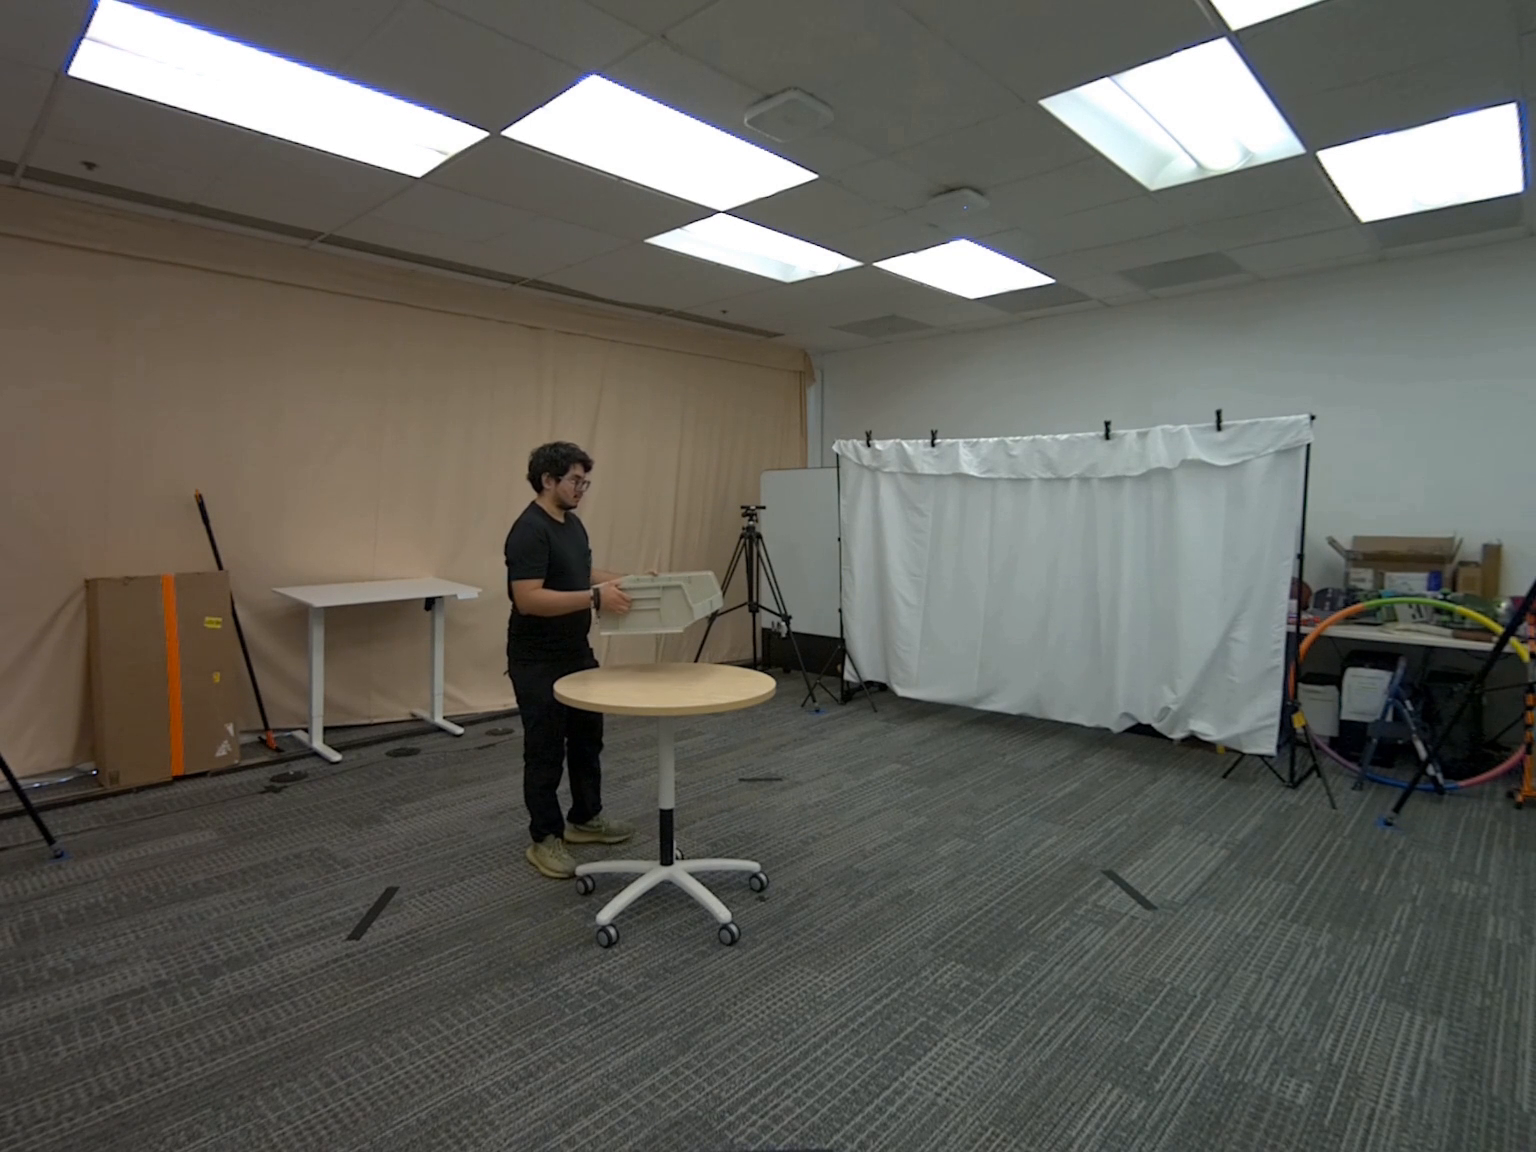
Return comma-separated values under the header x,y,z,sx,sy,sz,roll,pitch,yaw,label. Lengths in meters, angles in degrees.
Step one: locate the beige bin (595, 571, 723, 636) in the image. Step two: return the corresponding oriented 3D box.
x,y,z,sx,sy,sz,roll,pitch,yaw,label
-0.400,0.100,3.179,0.383,0.188,0.418,-4,5,13,beige bin
